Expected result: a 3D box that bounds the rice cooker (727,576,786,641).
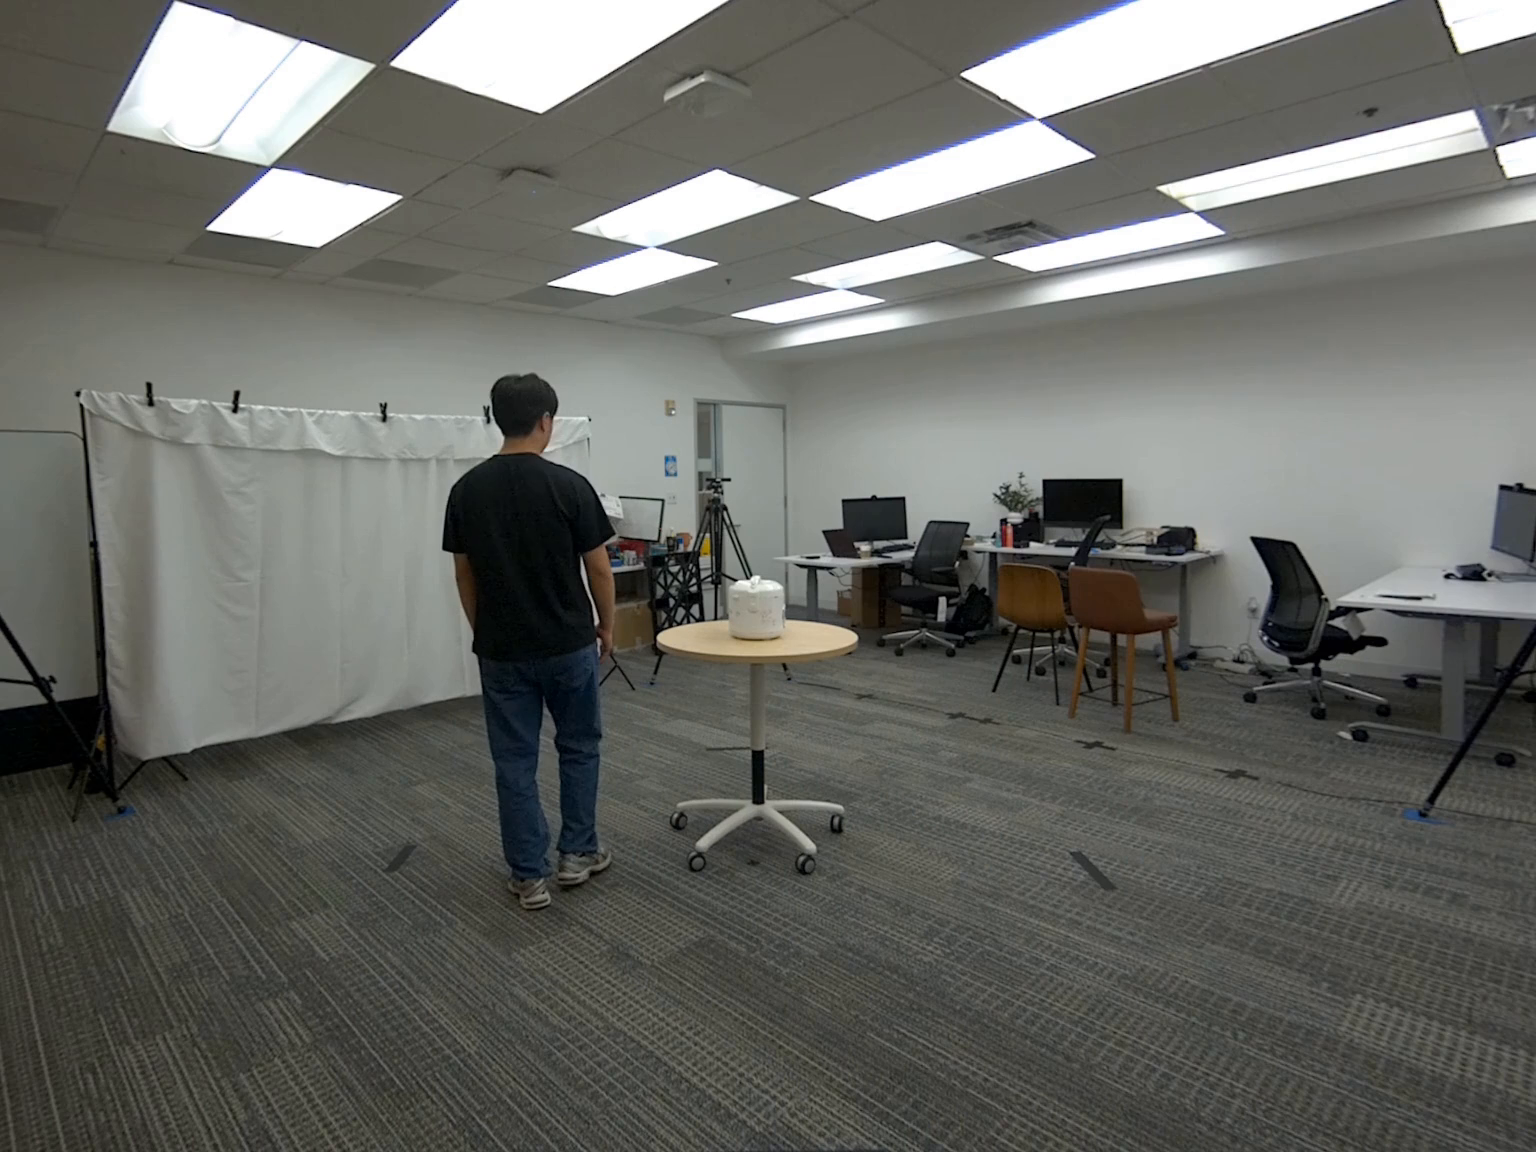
[{"bbox_3d":[-0.042,0.113,3.245,0.219,0.232,0.219,-1,4,8],"label":"rice cooker"}]
